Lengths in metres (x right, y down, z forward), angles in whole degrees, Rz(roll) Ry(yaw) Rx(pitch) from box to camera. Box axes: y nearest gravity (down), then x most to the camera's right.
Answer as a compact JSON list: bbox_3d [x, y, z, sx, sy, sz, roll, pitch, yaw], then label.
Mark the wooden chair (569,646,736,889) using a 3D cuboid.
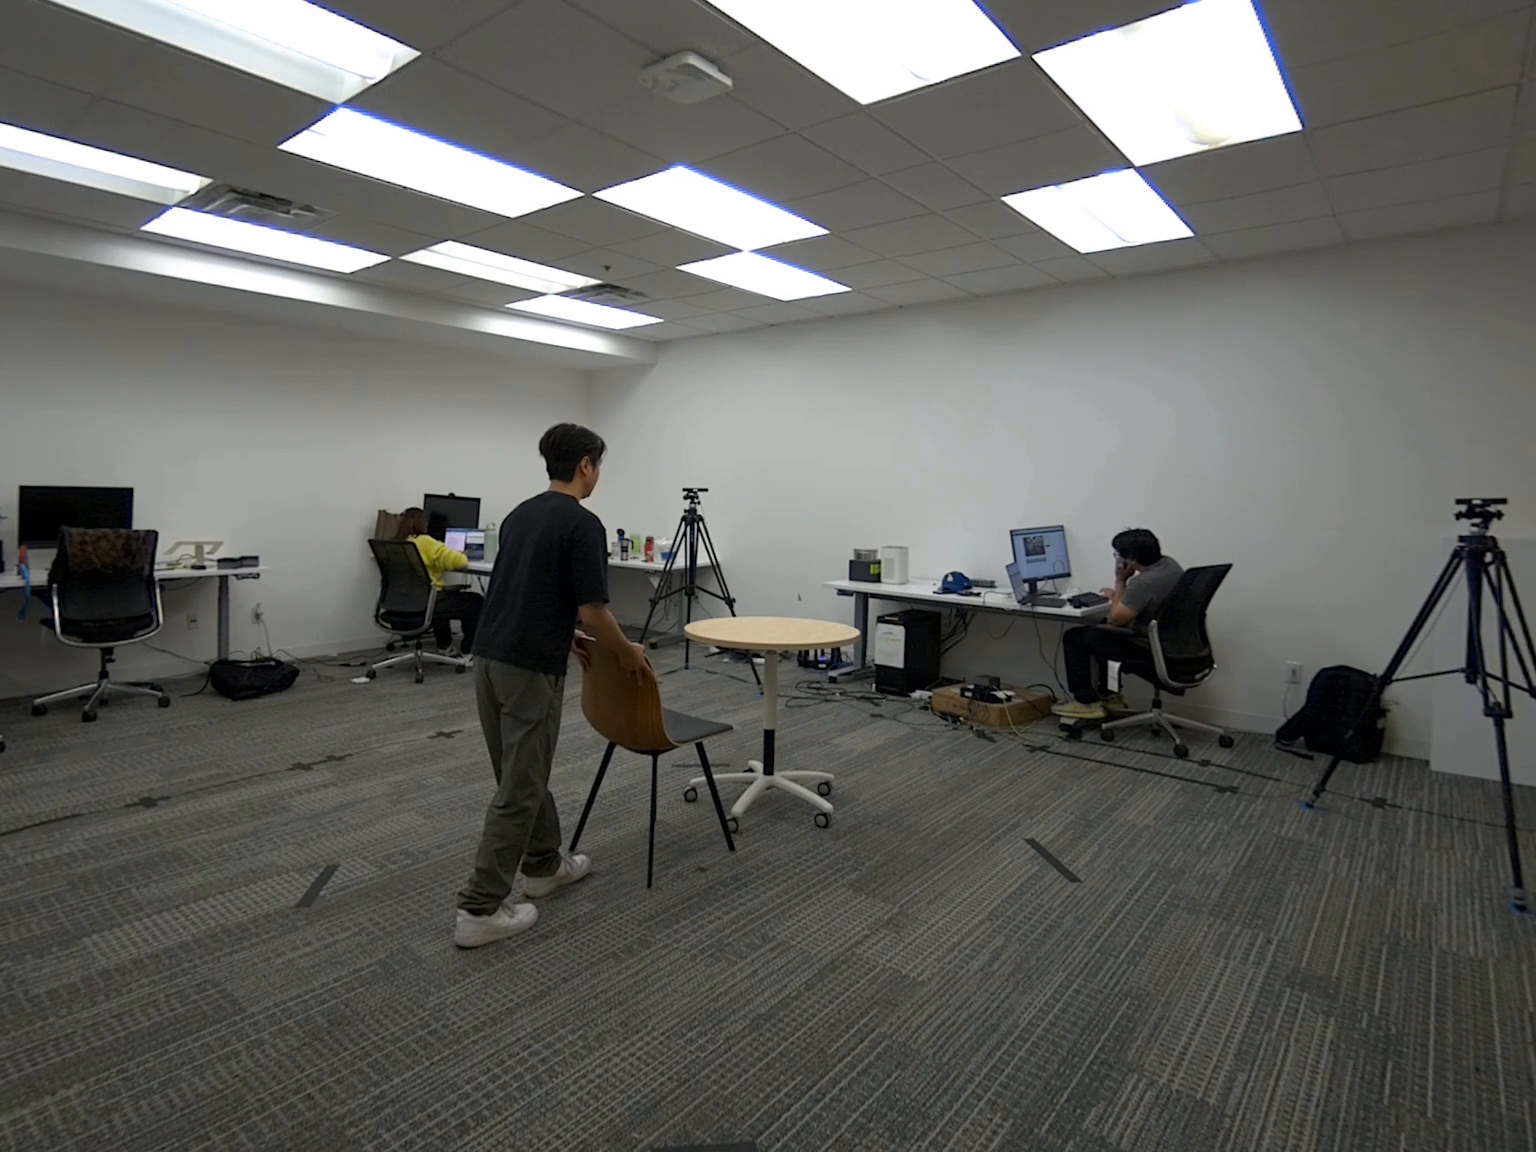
[{"bbox_3d":[-0.438,0.624,3.238,0.494,0.872,0.509,3,8,41],"label":"wooden chair"}]
